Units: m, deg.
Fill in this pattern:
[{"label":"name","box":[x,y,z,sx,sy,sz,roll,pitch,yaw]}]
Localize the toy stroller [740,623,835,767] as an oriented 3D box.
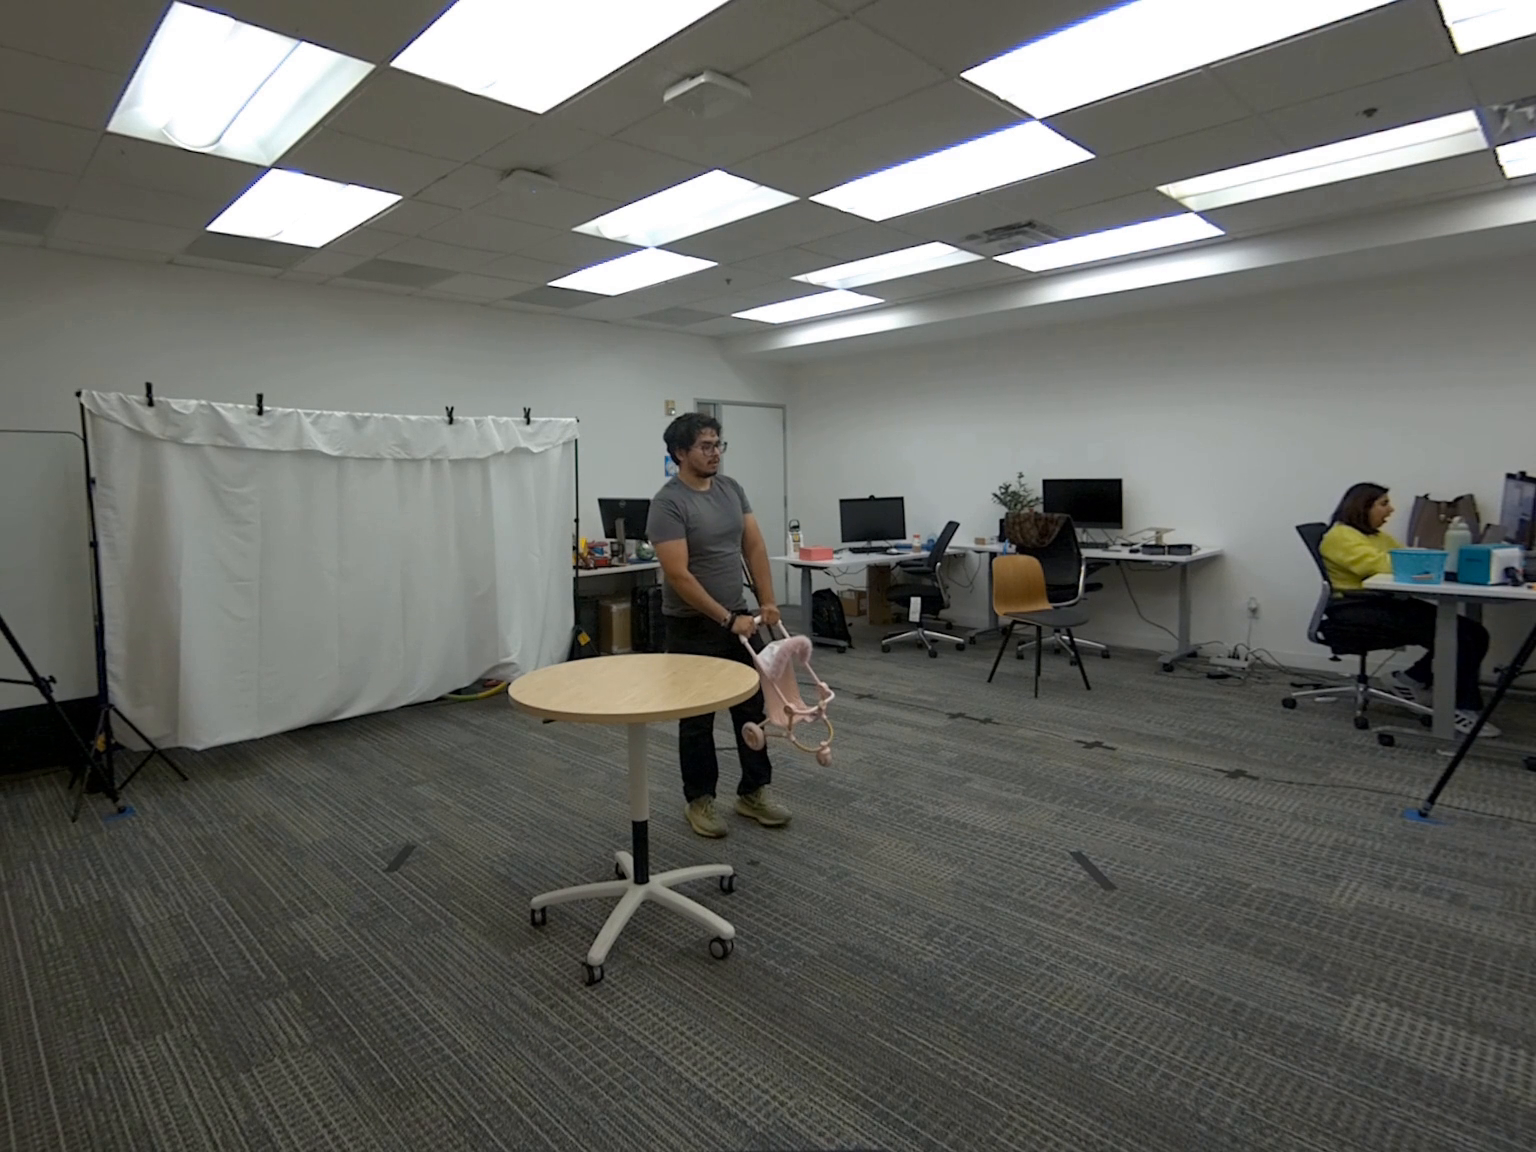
[{"label":"toy stroller","box":[0.085,0.446,3.222,0.276,0.526,0.353,-20,21,-38]}]
